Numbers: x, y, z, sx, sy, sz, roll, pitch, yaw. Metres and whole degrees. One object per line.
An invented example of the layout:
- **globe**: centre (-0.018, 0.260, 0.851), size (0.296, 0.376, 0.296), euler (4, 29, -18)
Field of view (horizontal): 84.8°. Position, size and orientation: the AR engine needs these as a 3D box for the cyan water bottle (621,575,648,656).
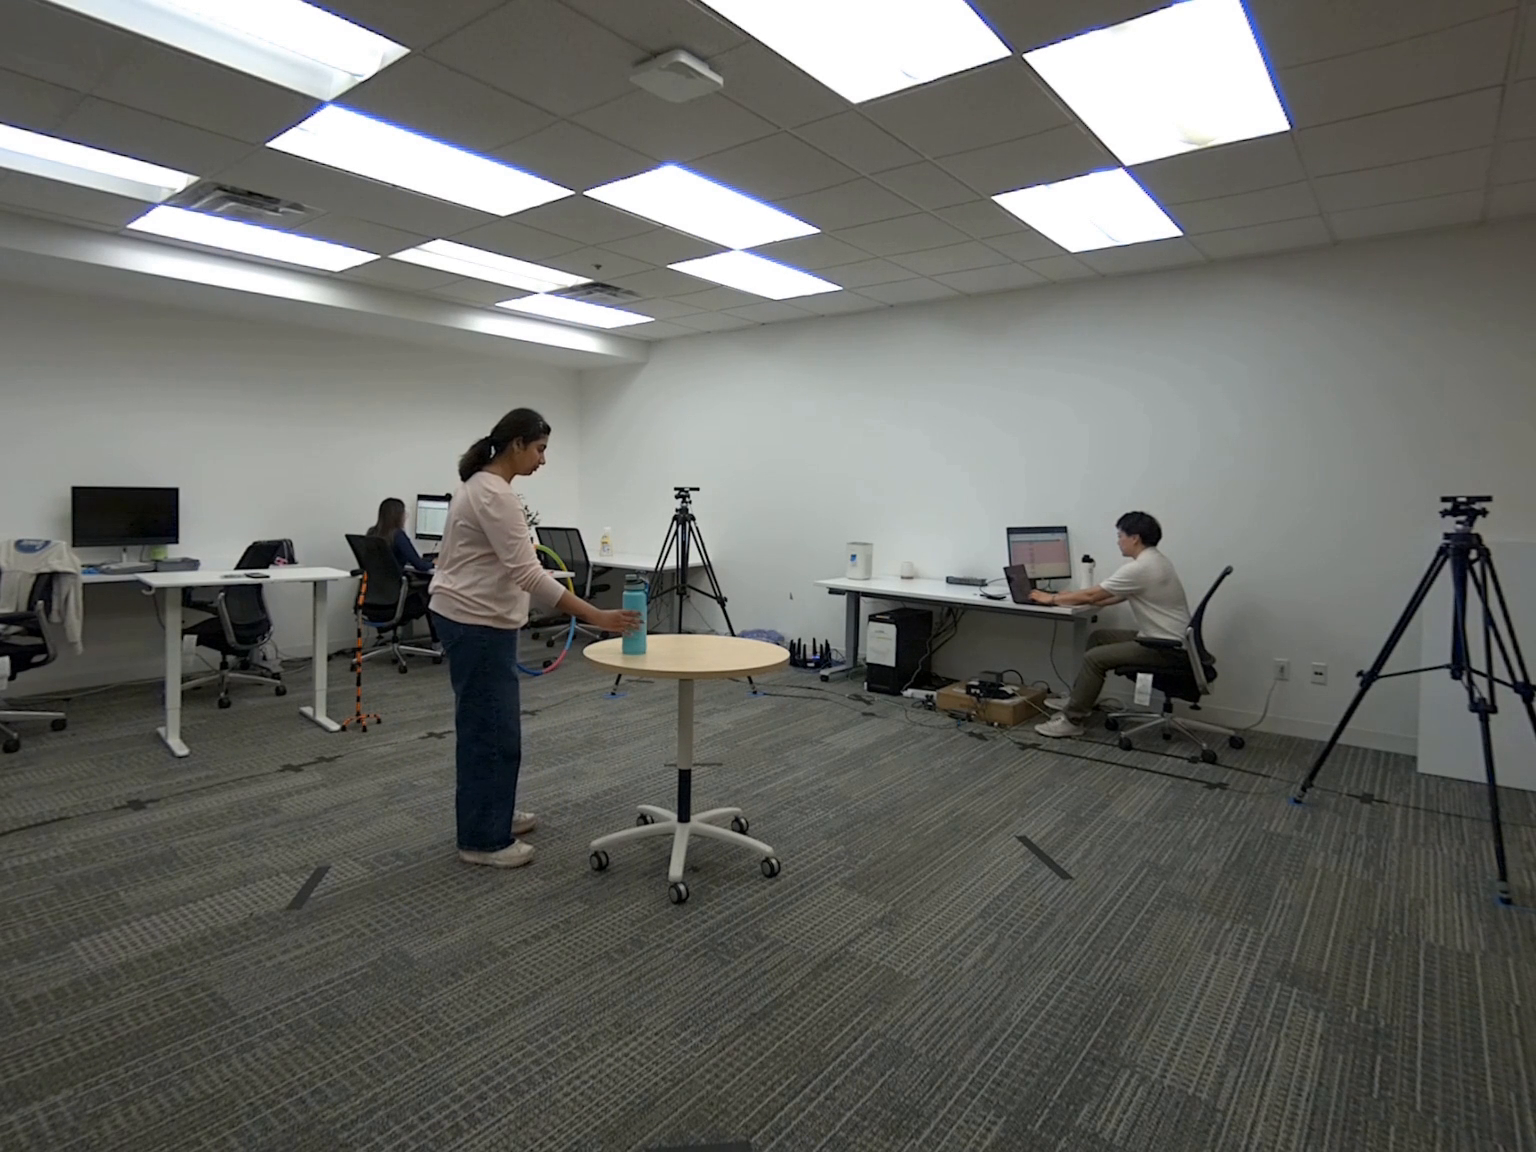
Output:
- **cyan water bottle**: centre (-0.502, 0.140, 3.106), size (0.092, 0.283, 0.093), euler (1, 3, -2)
